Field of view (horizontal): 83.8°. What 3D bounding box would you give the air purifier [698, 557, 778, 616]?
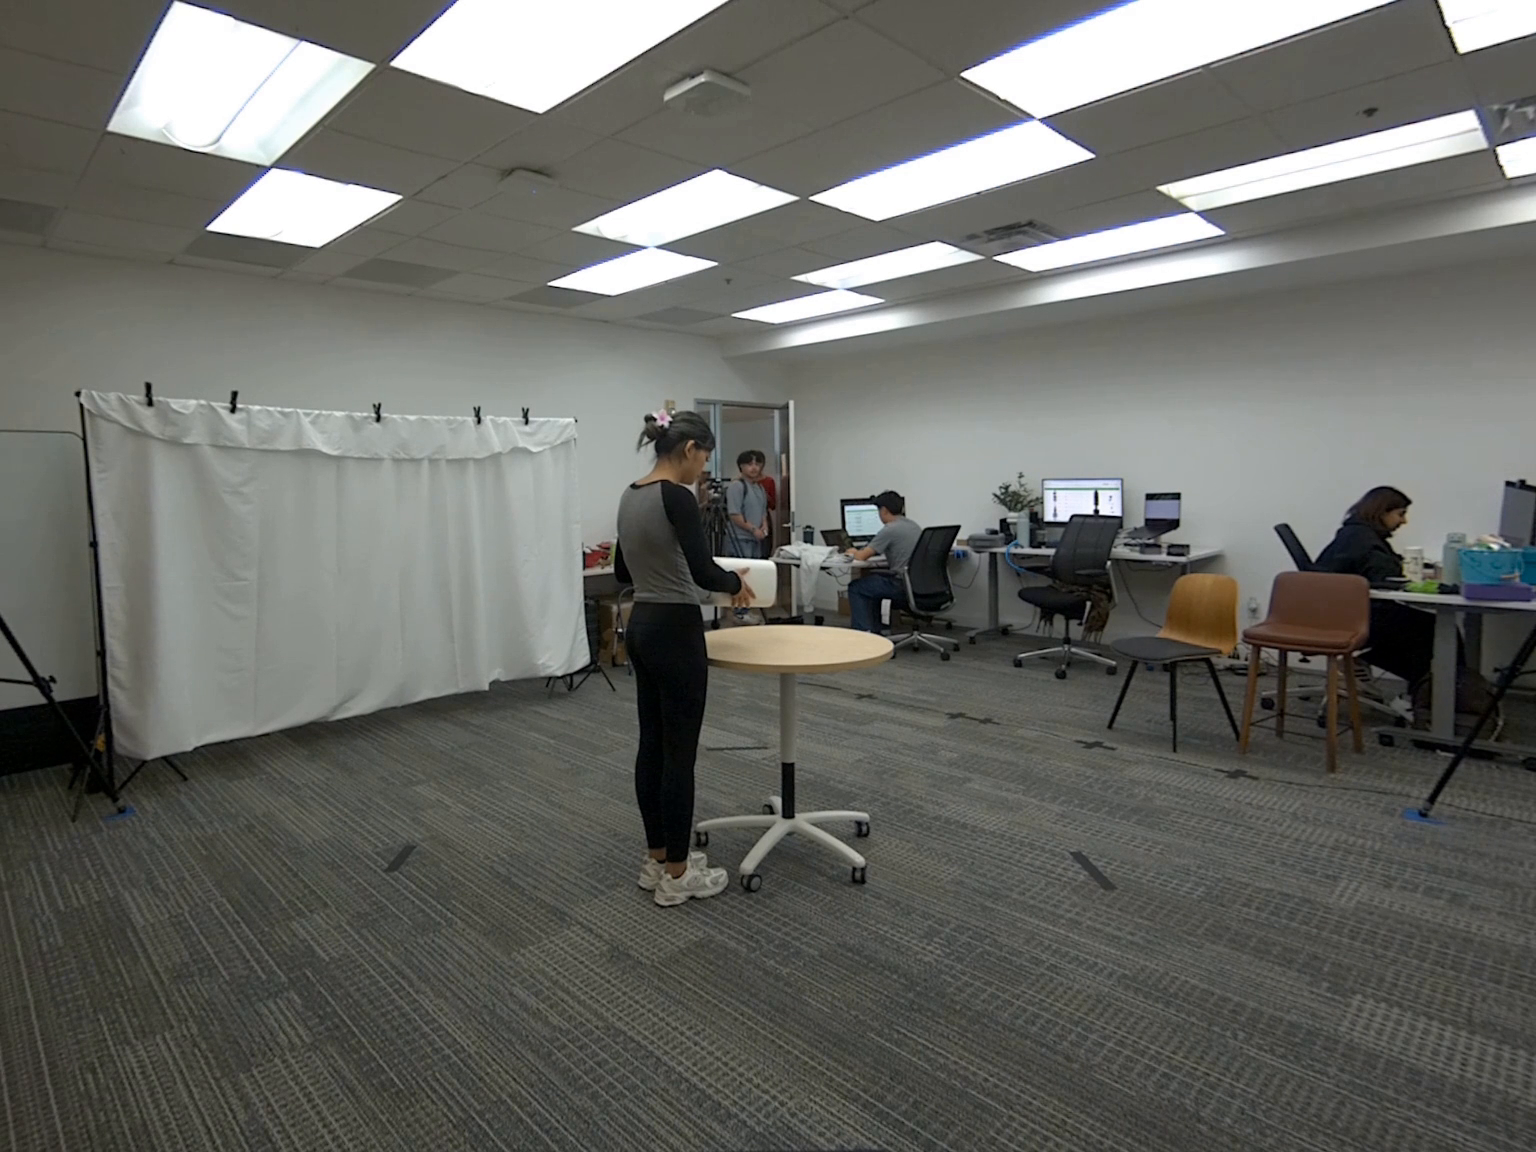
[{"bbox_3d":[-0.117,0.023,3.031,0.258,0.171,0.176,1,0,-33],"label":"air purifier"}]
